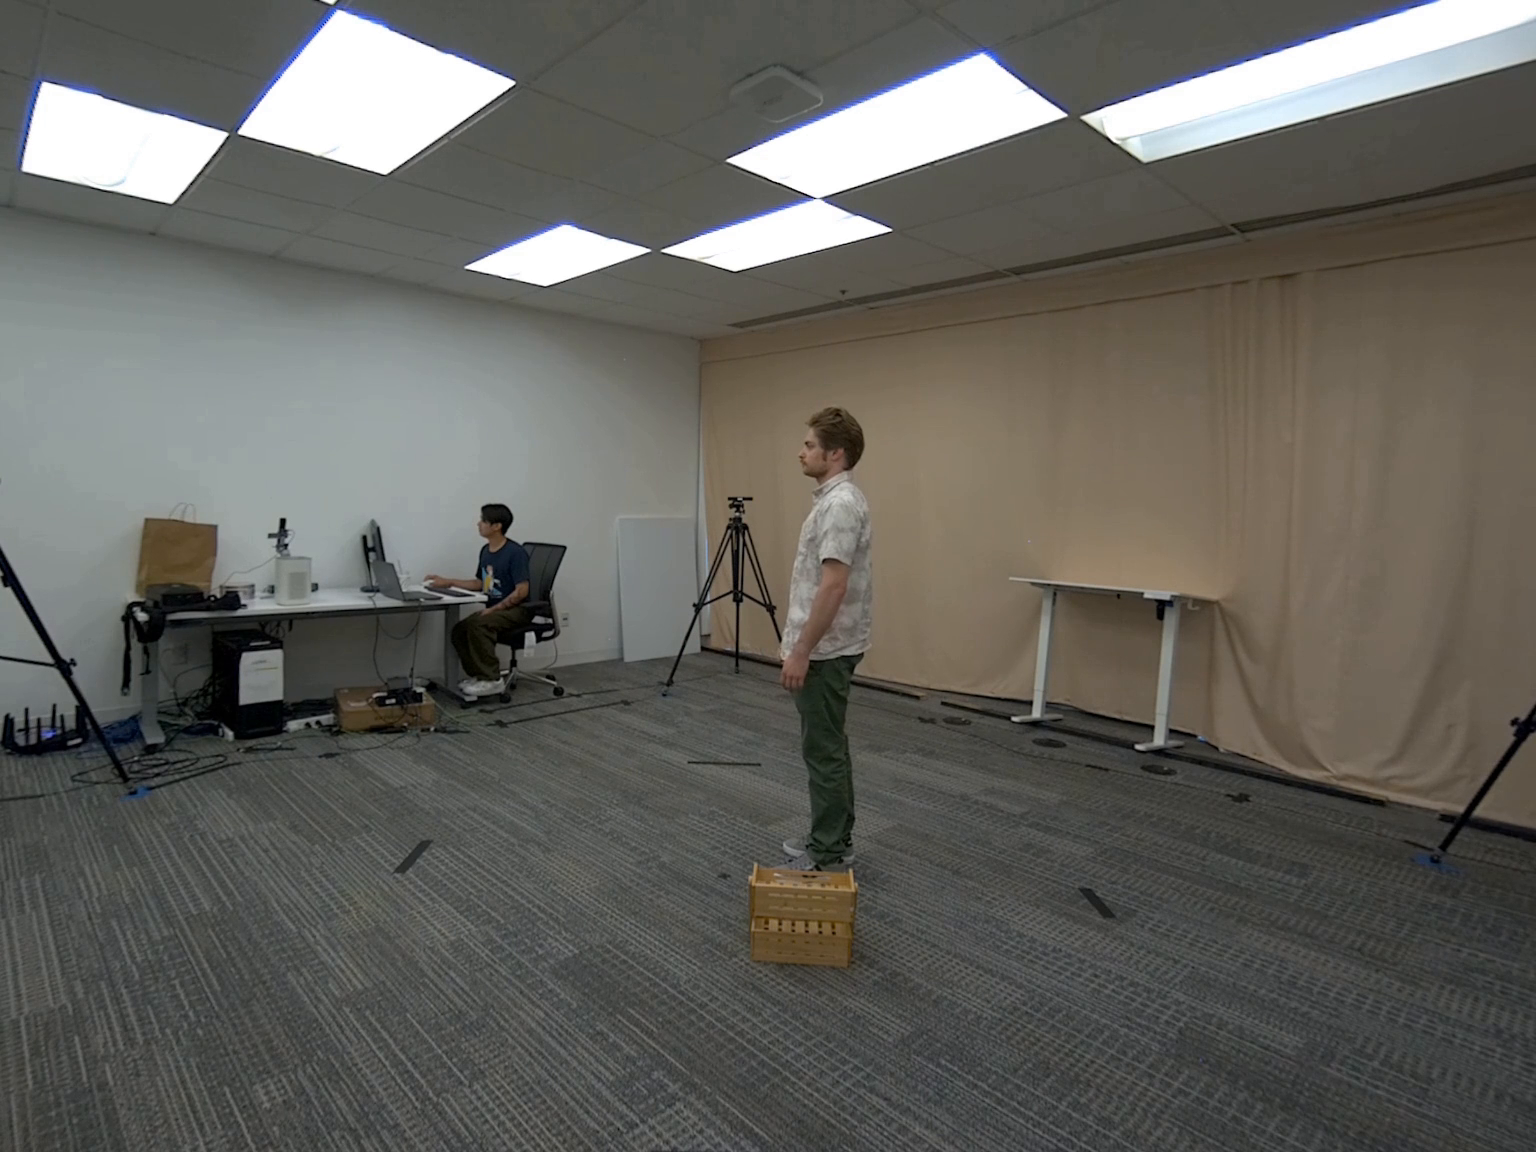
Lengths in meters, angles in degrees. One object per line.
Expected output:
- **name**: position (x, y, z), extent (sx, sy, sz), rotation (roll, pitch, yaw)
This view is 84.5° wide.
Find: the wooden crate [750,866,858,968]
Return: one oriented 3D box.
- **wooden crate**: position (0.099, 1.024, 2.618), extent (0.325, 0.272, 0.302), rotation (2, 5, 3)
